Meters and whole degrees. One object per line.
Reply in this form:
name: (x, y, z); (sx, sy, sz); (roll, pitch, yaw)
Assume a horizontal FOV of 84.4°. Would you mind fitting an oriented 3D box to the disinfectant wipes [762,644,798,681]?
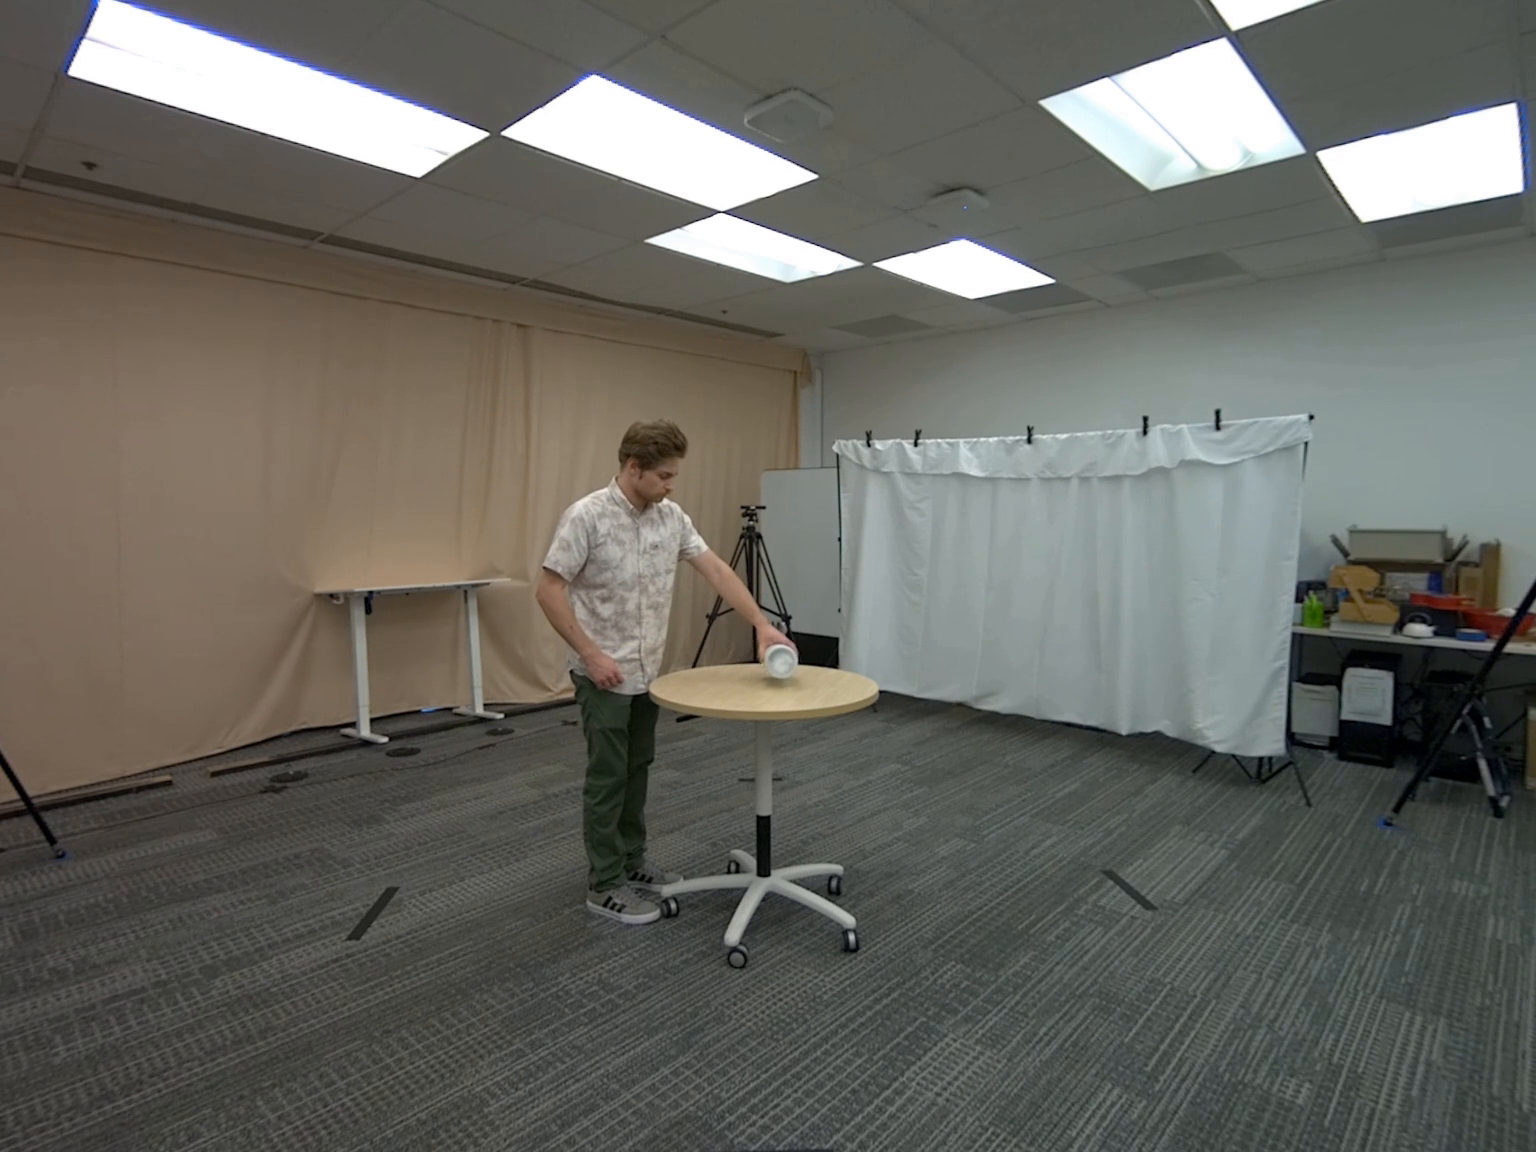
disinfectant wipes: (0.043, 0.279, 2.845); (0.117, 0.117, 0.219); (0, 3, -6)
